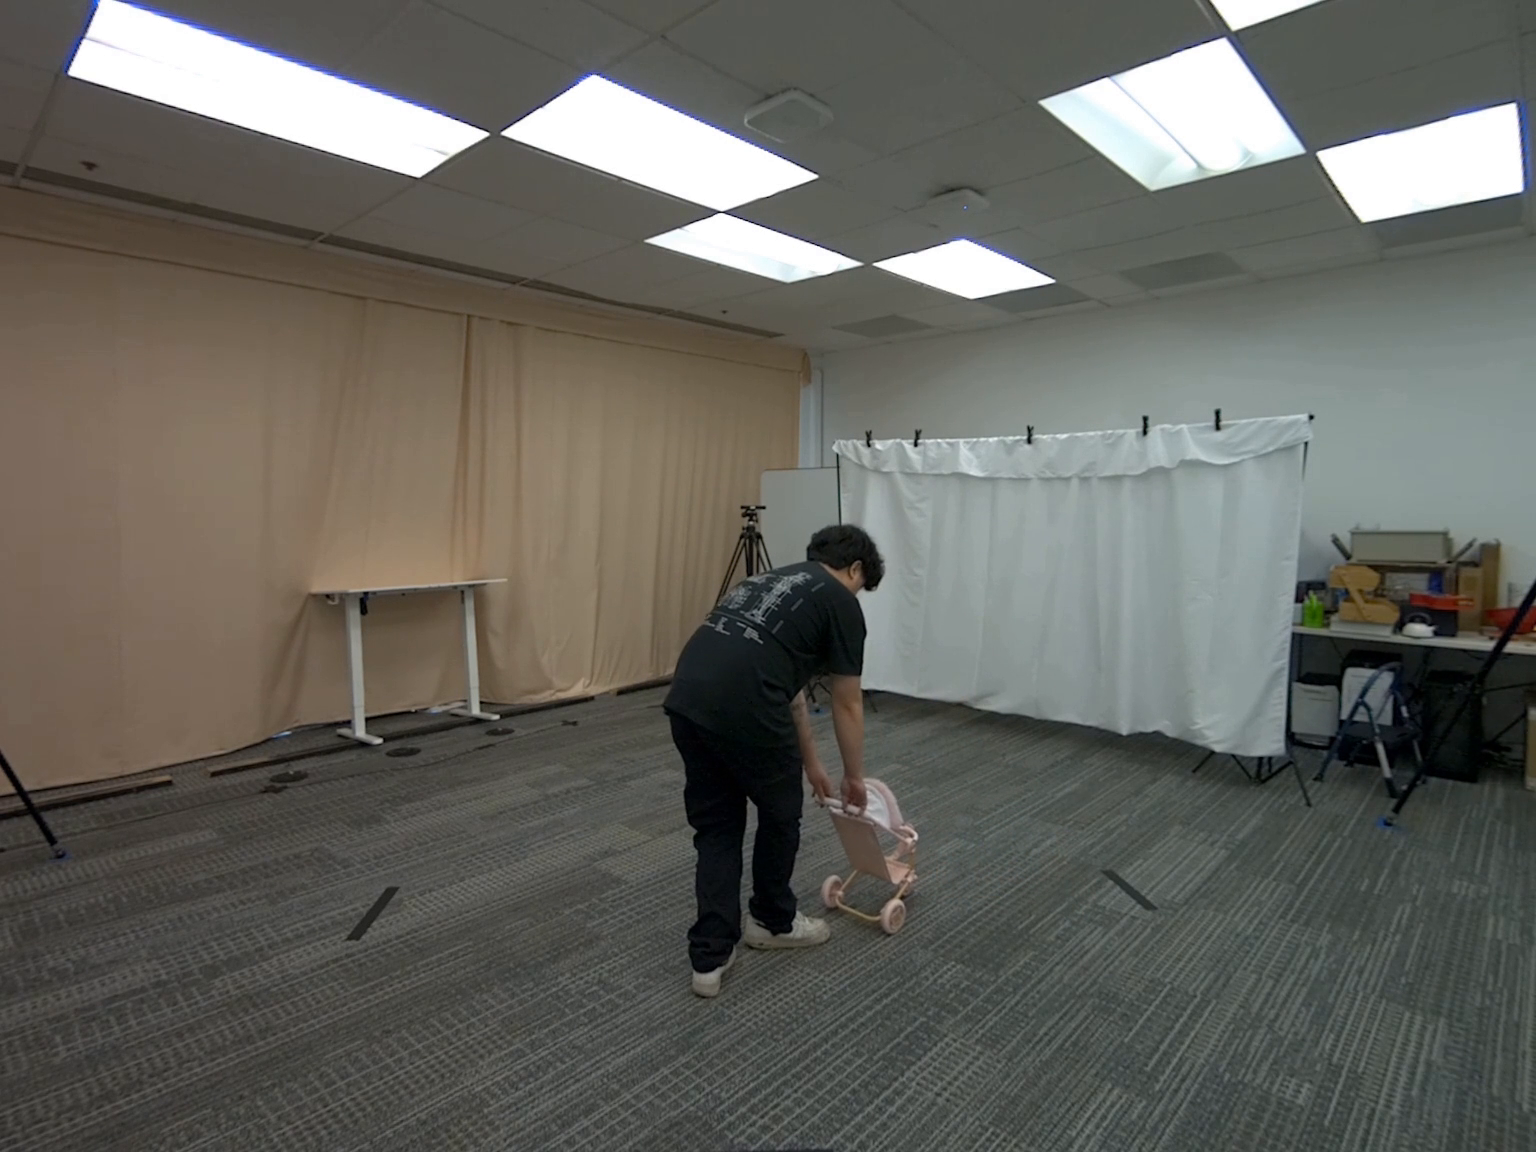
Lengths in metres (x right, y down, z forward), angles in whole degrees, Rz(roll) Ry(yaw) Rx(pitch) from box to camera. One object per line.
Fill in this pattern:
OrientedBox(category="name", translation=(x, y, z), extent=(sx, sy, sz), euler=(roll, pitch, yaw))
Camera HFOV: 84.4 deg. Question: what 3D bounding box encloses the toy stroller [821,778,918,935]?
OrientedBox(category="toy stroller", translation=(0.366, 0.924, 2.862), extent=(0.334, 0.529, 0.291), euler=(-23, 18, -40))
